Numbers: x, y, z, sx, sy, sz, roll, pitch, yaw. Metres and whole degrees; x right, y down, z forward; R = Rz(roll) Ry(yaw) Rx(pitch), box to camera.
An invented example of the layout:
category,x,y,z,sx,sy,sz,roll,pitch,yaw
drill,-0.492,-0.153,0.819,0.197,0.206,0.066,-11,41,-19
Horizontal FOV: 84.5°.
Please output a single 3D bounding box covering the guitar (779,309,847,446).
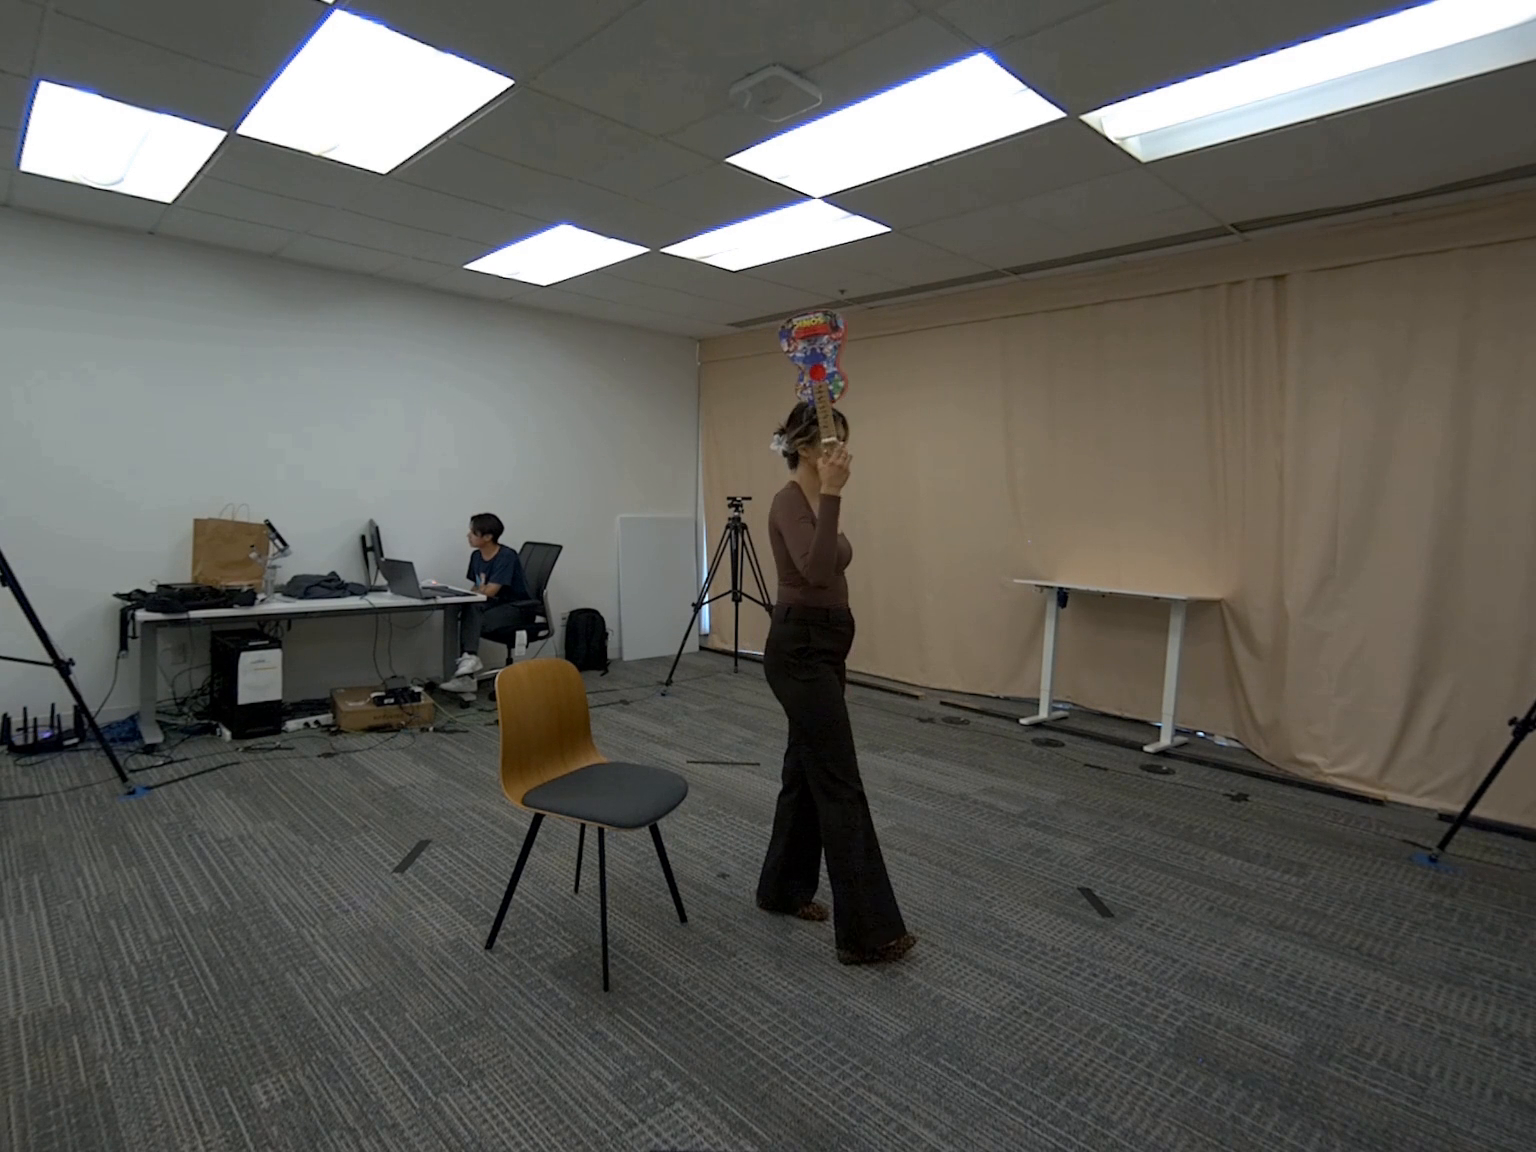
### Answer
category,x,y,z,sx,sy,sz,roll,pitch,yaw
guitar,0.126,-0.511,2.430,0.195,0.495,0.070,2,7,13
